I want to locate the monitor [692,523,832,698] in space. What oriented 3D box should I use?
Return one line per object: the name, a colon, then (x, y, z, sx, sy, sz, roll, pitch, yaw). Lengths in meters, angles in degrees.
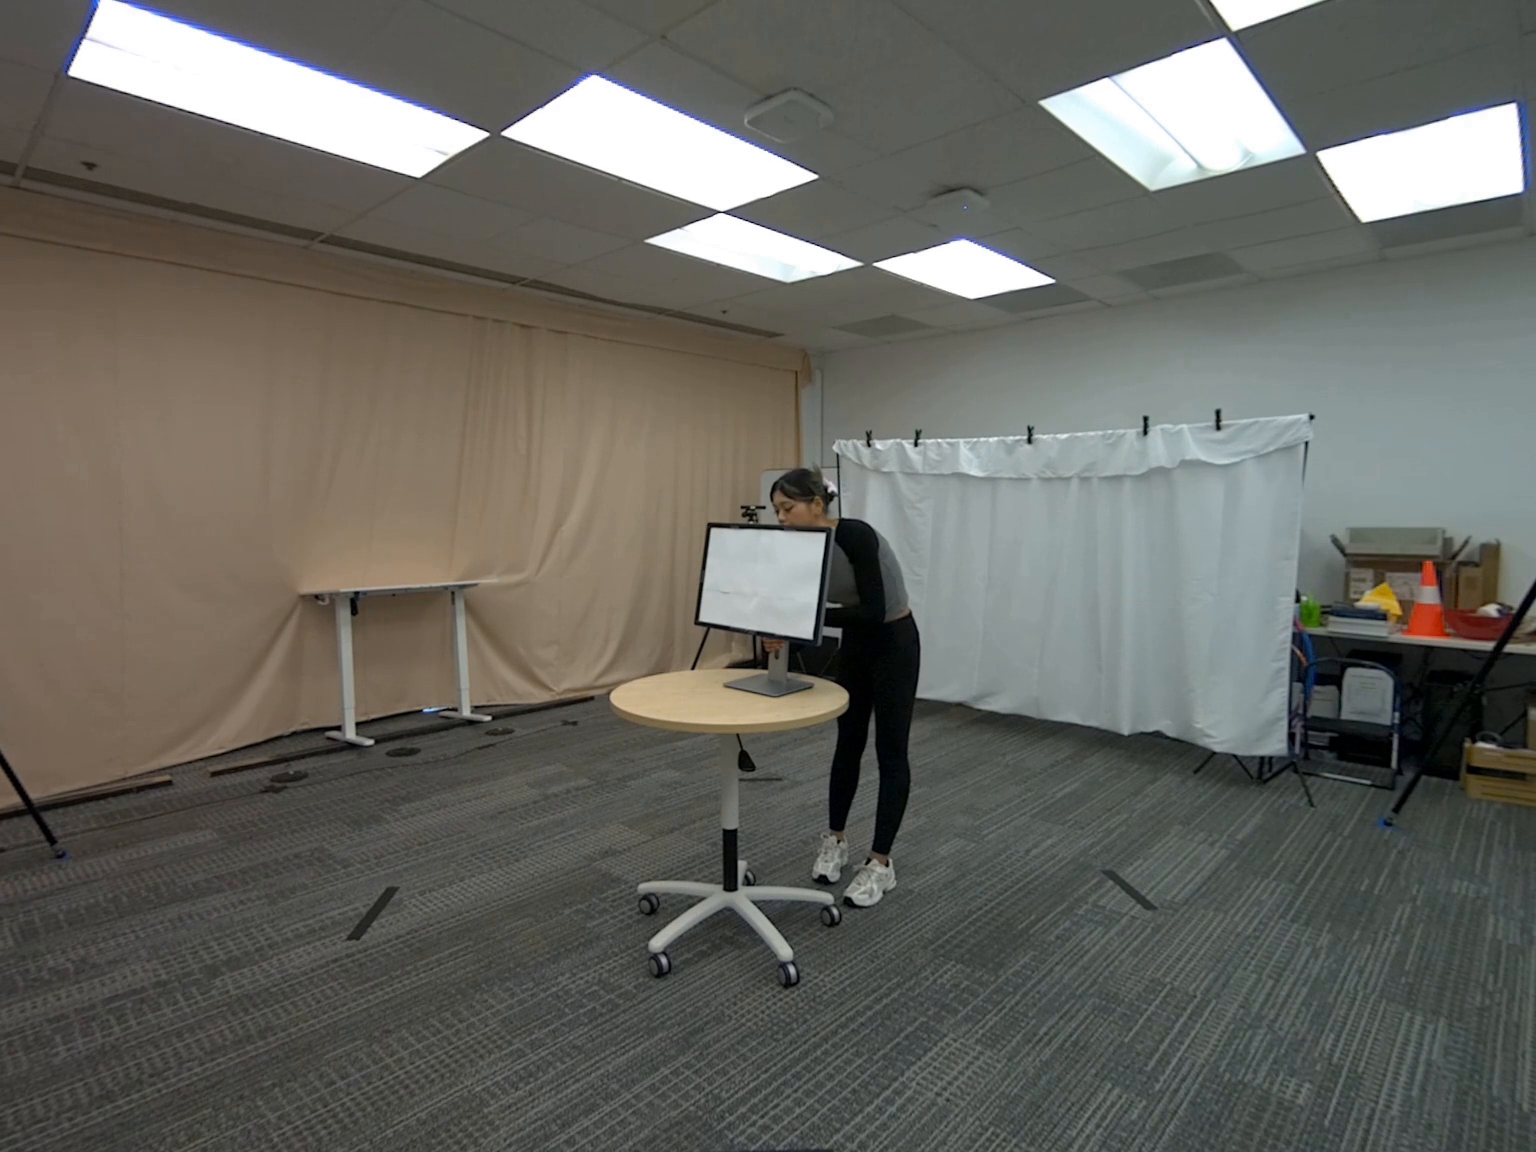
monitor: (0.002, 0.106, 2.783, 0.557, 0.521, 0.181, 3, 6, 43)
